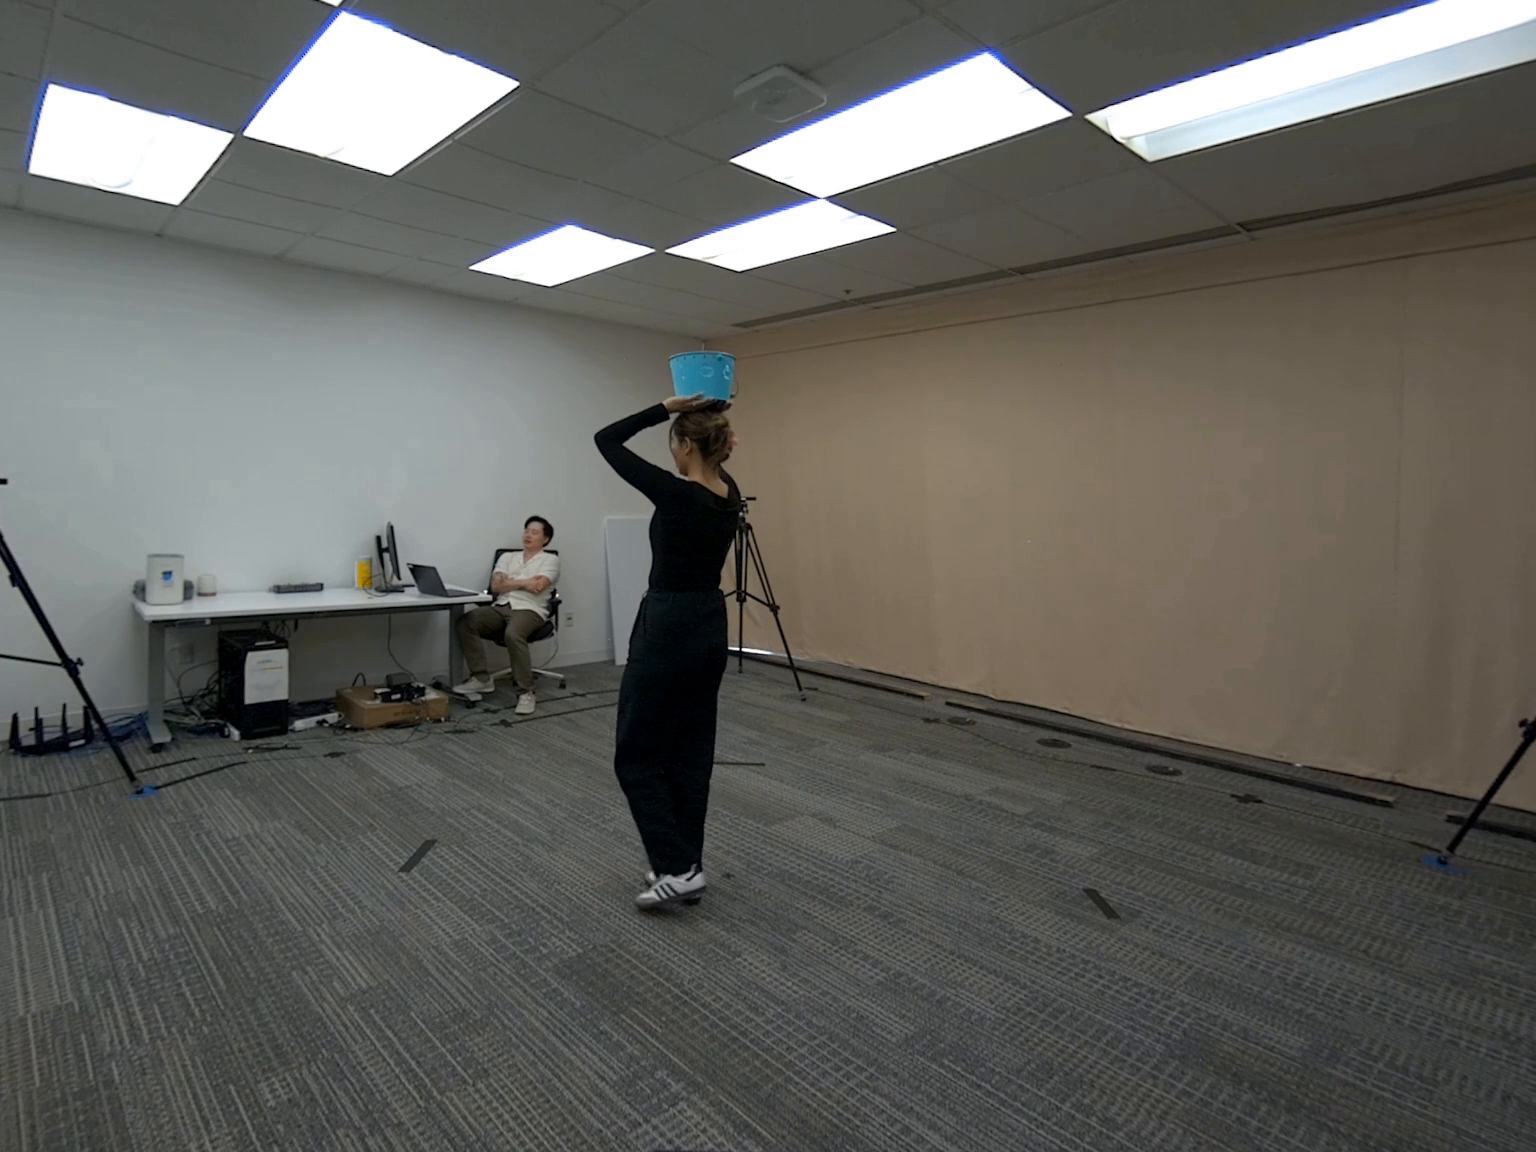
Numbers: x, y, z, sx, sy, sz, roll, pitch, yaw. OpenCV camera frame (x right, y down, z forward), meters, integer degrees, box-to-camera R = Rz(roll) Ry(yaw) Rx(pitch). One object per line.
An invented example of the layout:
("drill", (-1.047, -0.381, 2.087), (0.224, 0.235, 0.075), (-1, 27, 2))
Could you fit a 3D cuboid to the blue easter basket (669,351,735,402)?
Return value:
("blue easter basket", (-0.224, -0.667, 2.883), (0.243, 0.156, 0.244), (-2, 2, -1))
